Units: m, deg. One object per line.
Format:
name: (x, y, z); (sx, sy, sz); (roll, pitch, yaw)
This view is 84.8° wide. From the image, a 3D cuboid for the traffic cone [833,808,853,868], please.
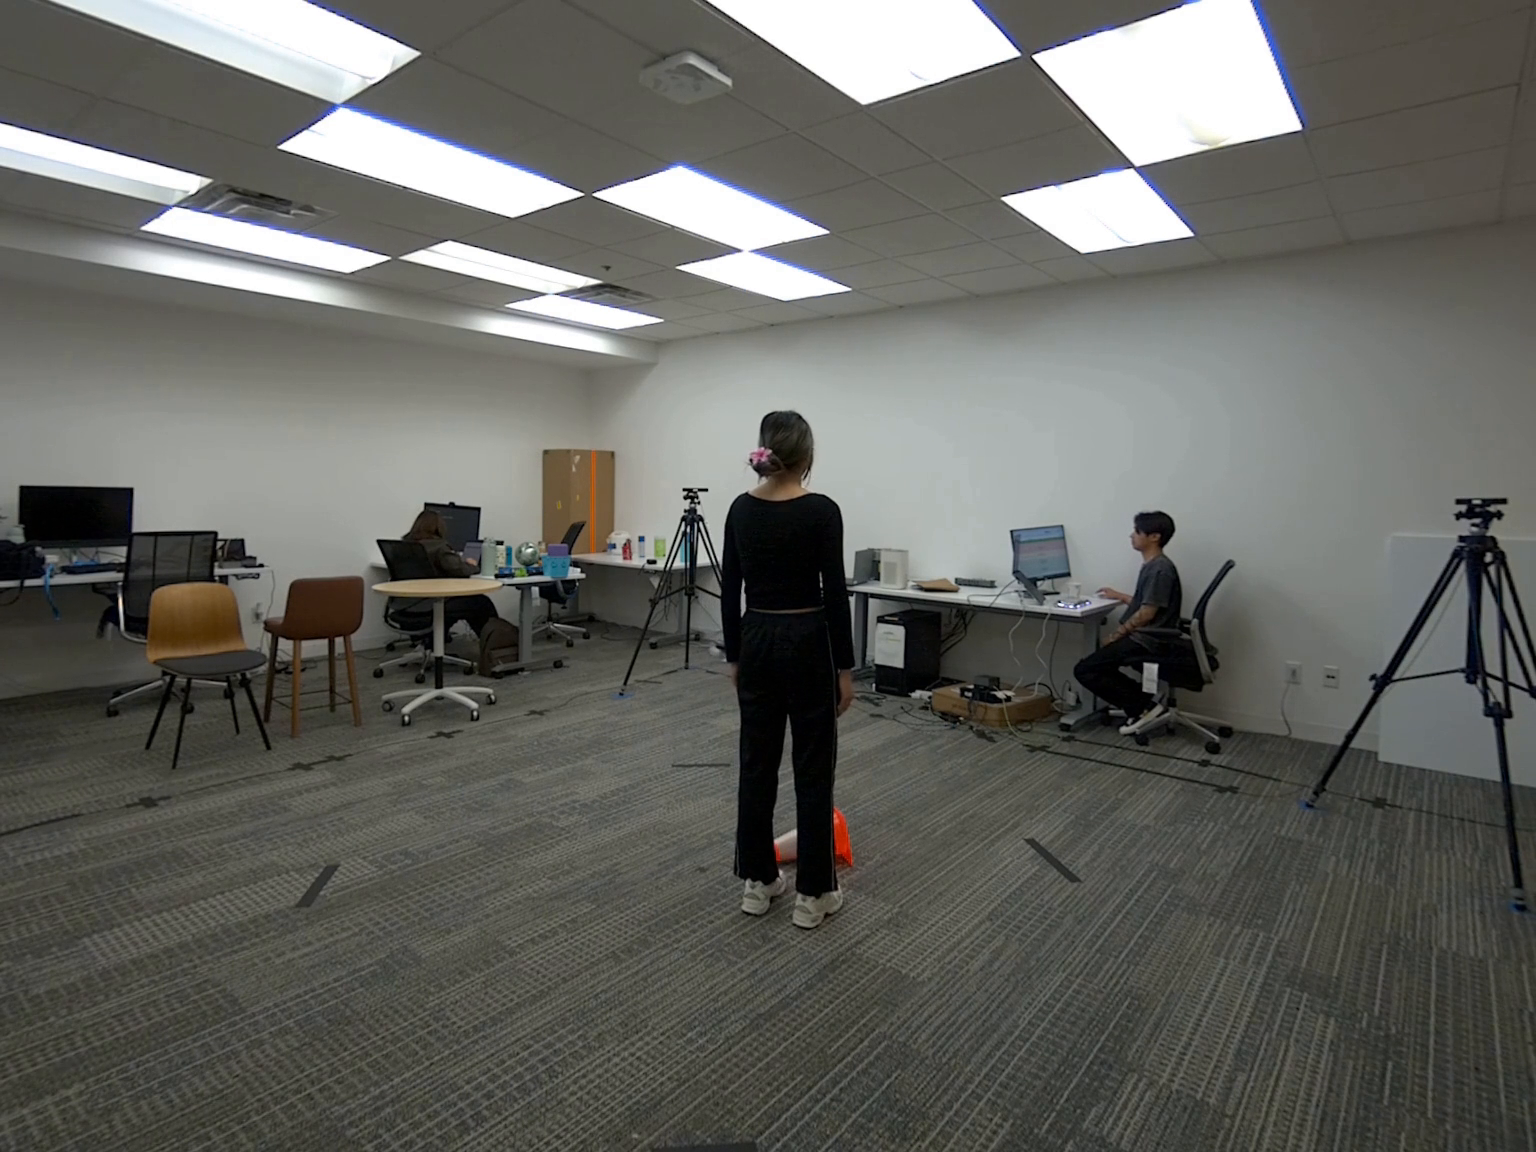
traffic cone: (0.087, 1.017, 3.188); (0.379, 0.204, 0.207); (-15, 7, -16)
